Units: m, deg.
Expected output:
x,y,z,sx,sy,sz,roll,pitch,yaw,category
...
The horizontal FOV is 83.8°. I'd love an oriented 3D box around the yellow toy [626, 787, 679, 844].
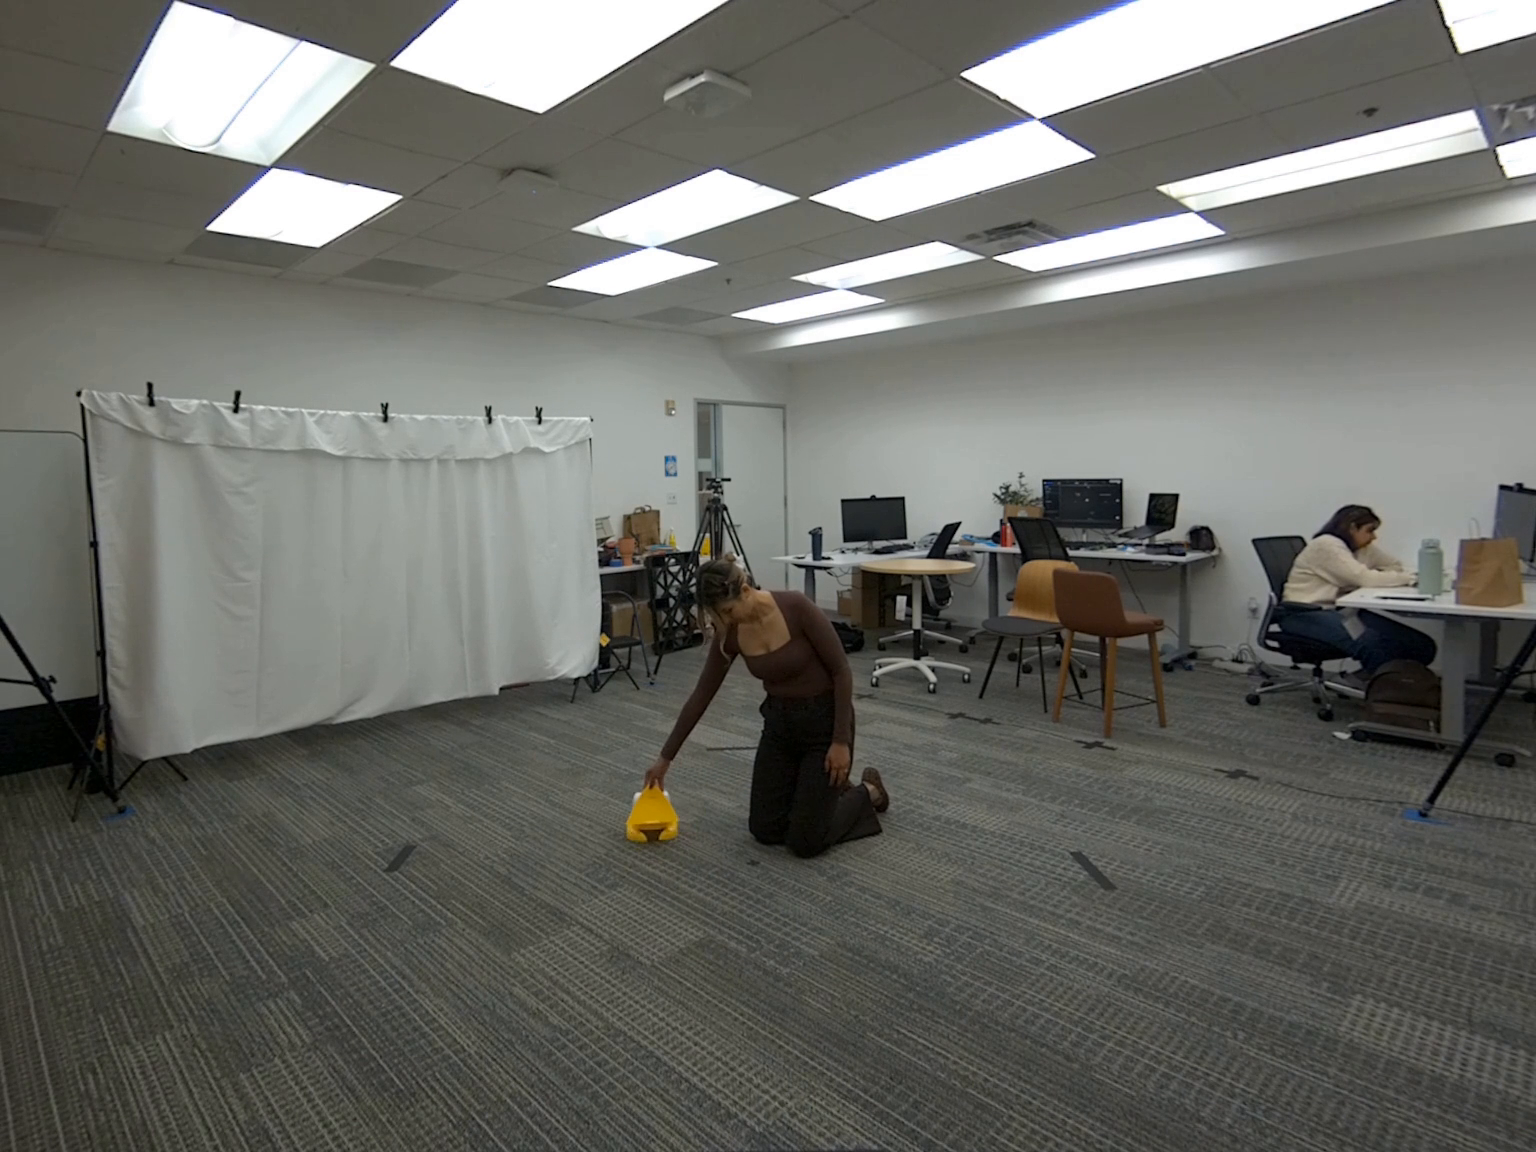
x,y,z,sx,sy,sz,roll,pitch,yaw,category
-0.451,0.902,3.370,0.203,0.229,0.196,-1,6,-10,yellow toy
